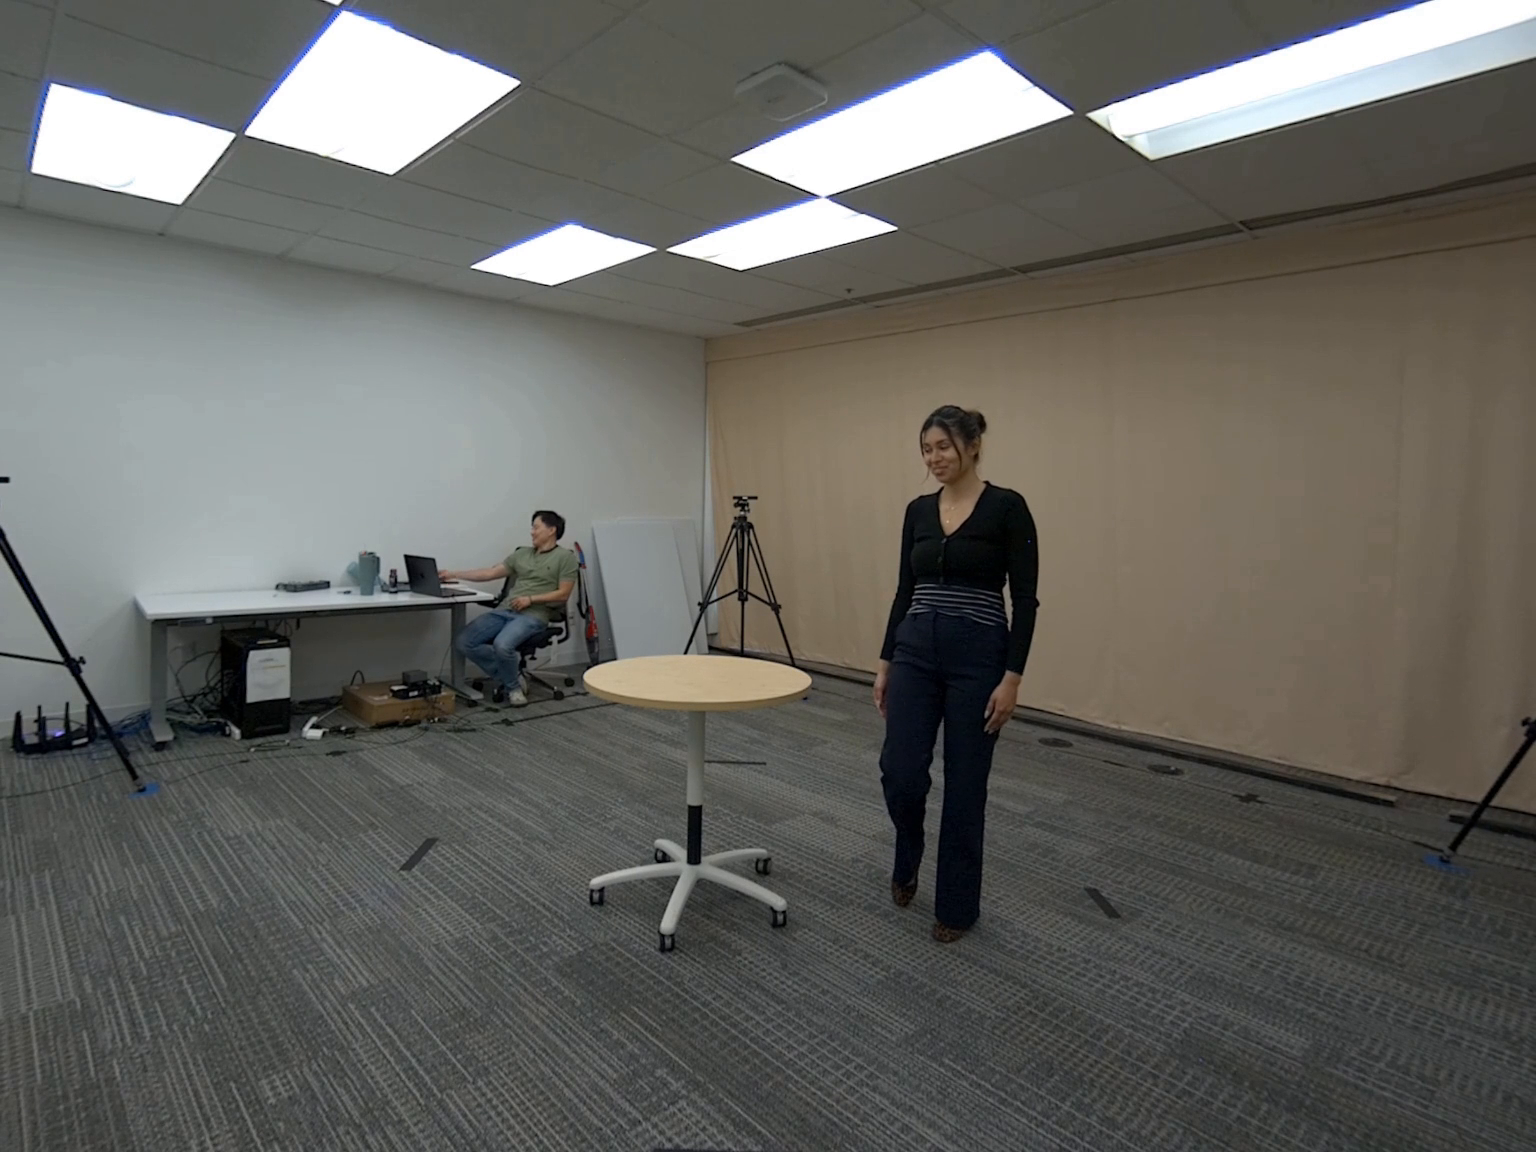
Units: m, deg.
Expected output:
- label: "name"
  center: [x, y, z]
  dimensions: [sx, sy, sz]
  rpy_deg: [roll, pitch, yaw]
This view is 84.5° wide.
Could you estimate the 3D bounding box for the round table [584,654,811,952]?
- label: "round table"
  center: [-0.250, 0.732, 2.868]
  dimensions: [0.763, 0.792, 0.766]
  rpy_deg: [1, 4, -1]
